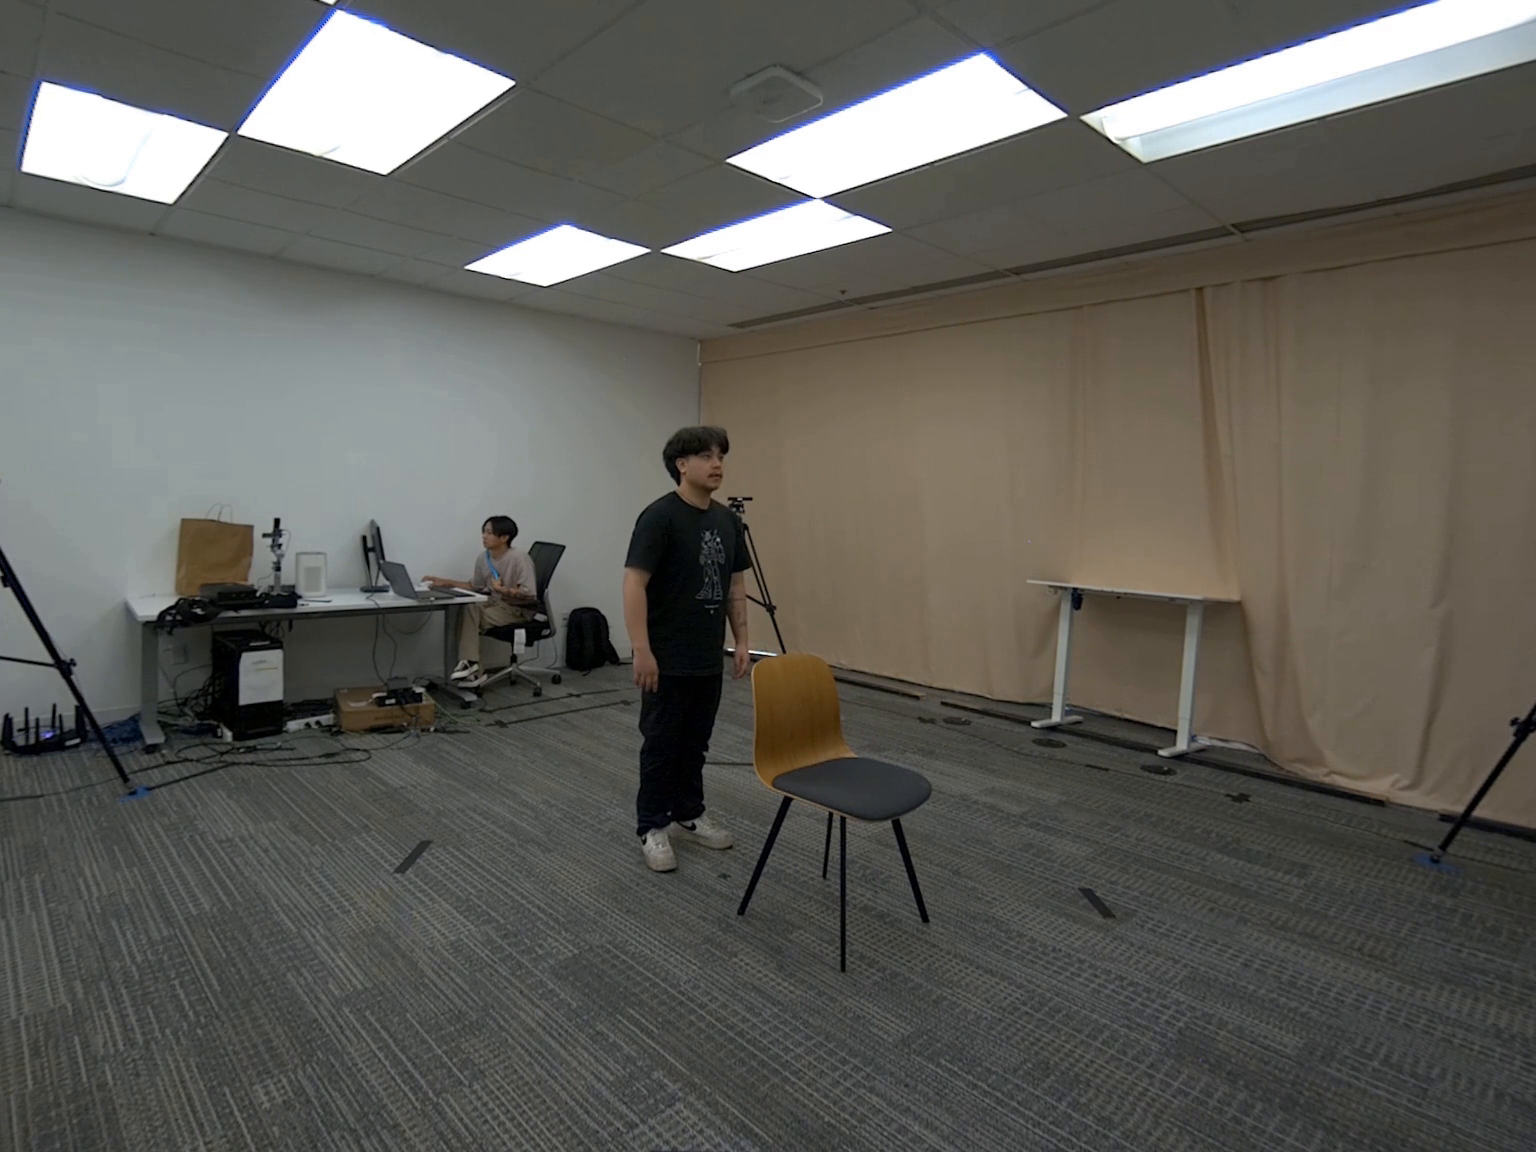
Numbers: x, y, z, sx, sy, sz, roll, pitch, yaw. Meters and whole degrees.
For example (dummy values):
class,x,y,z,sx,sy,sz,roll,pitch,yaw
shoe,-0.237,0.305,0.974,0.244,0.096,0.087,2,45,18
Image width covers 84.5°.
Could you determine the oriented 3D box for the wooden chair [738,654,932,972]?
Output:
class,x,y,z,sx,sy,sz,roll,pitch,yaw
wooden chair,0.229,0.720,2.763,0.467,0.877,0.535,-2,1,-45
